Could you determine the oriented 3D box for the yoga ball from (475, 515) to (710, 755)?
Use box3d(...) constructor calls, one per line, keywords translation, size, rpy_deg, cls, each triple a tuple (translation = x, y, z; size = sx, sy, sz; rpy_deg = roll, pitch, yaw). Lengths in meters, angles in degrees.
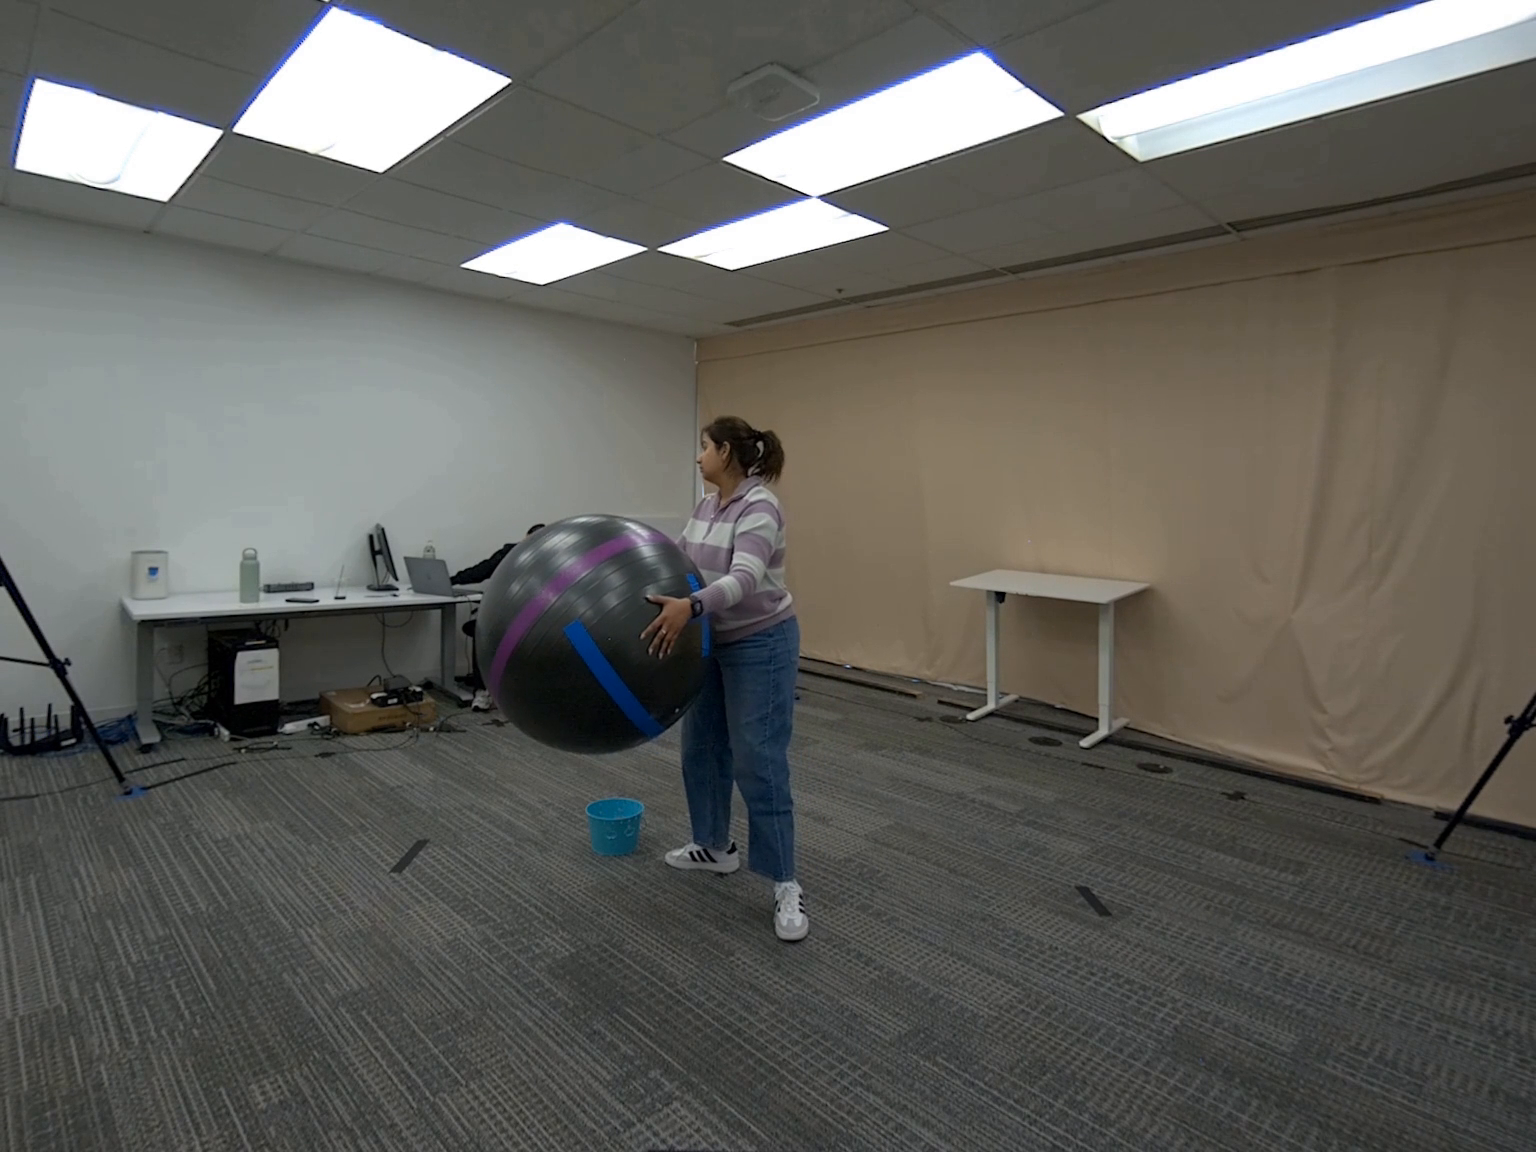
box3d(translation=(-0.561, 0.186, 2.694), size=(0.757, 0.756, 0.761), rpy_deg=(1, 4, -1), cls="yoga ball")
